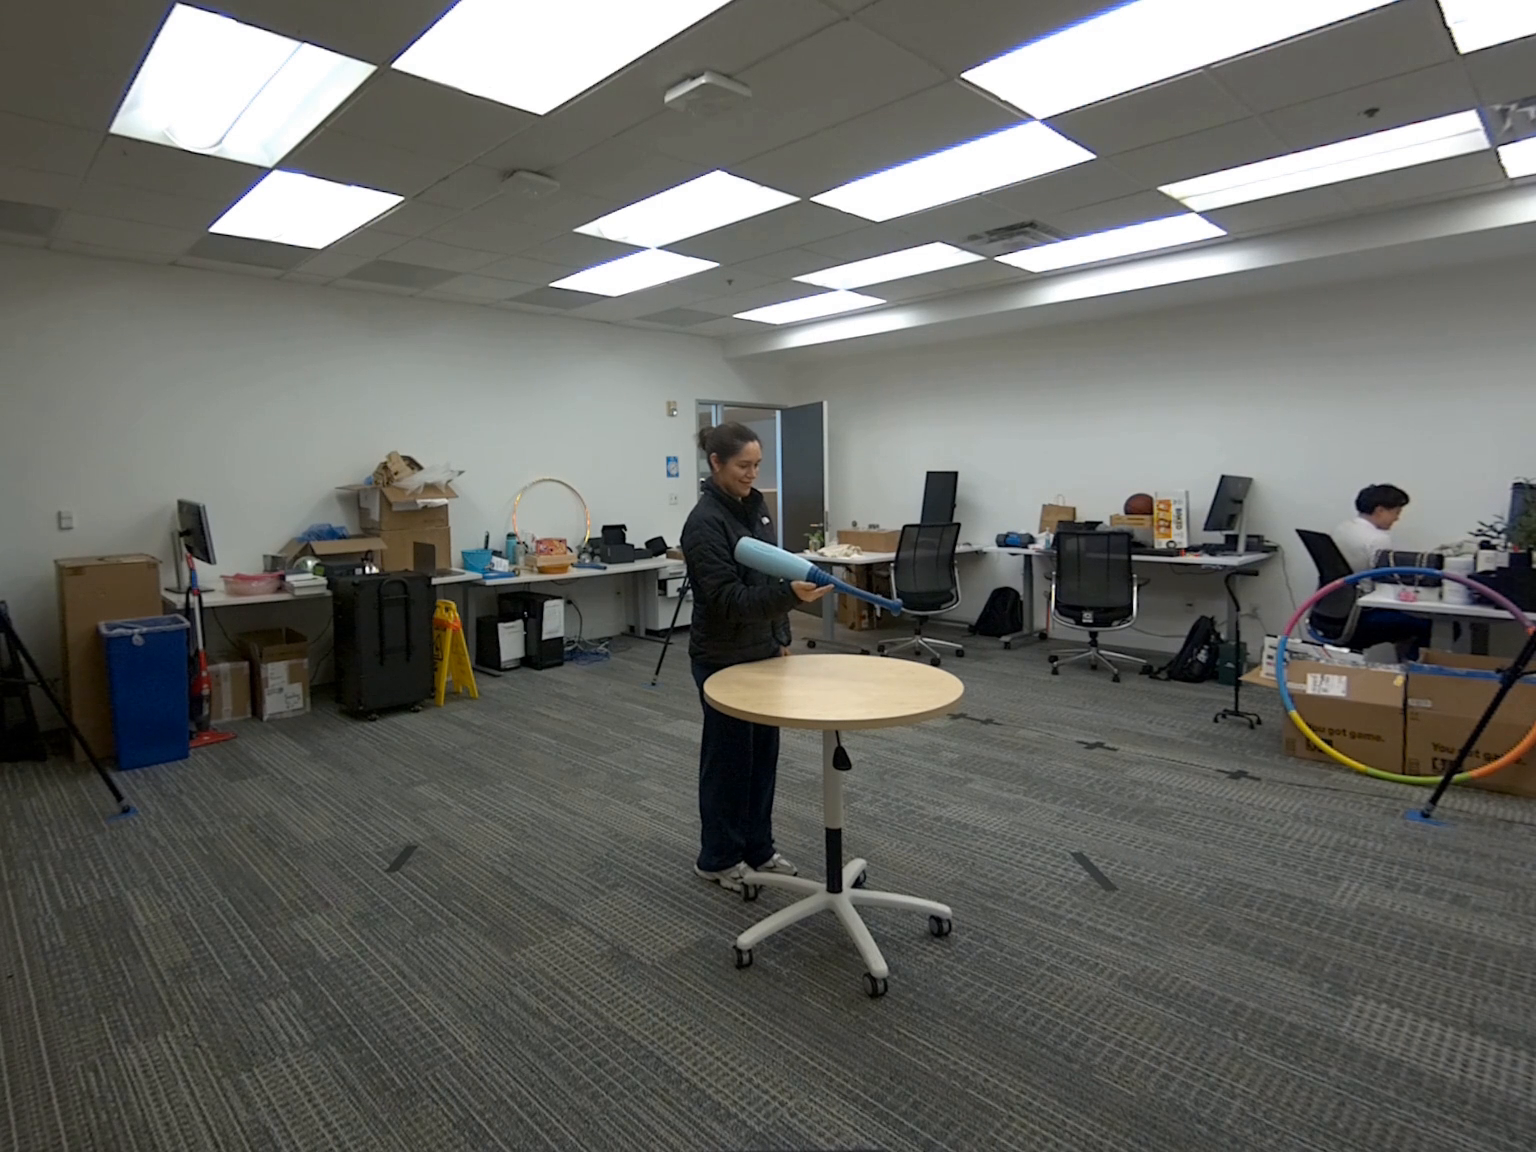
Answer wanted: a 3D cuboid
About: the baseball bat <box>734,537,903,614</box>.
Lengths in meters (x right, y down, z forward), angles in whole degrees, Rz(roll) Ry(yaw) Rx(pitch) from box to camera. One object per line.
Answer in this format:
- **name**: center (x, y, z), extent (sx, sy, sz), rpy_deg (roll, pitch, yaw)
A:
- **baseball bat**: center (0.150, 0.007, 2.622), extent (0.557, 0.088, 0.087), rpy_deg (23, 14, 22)
